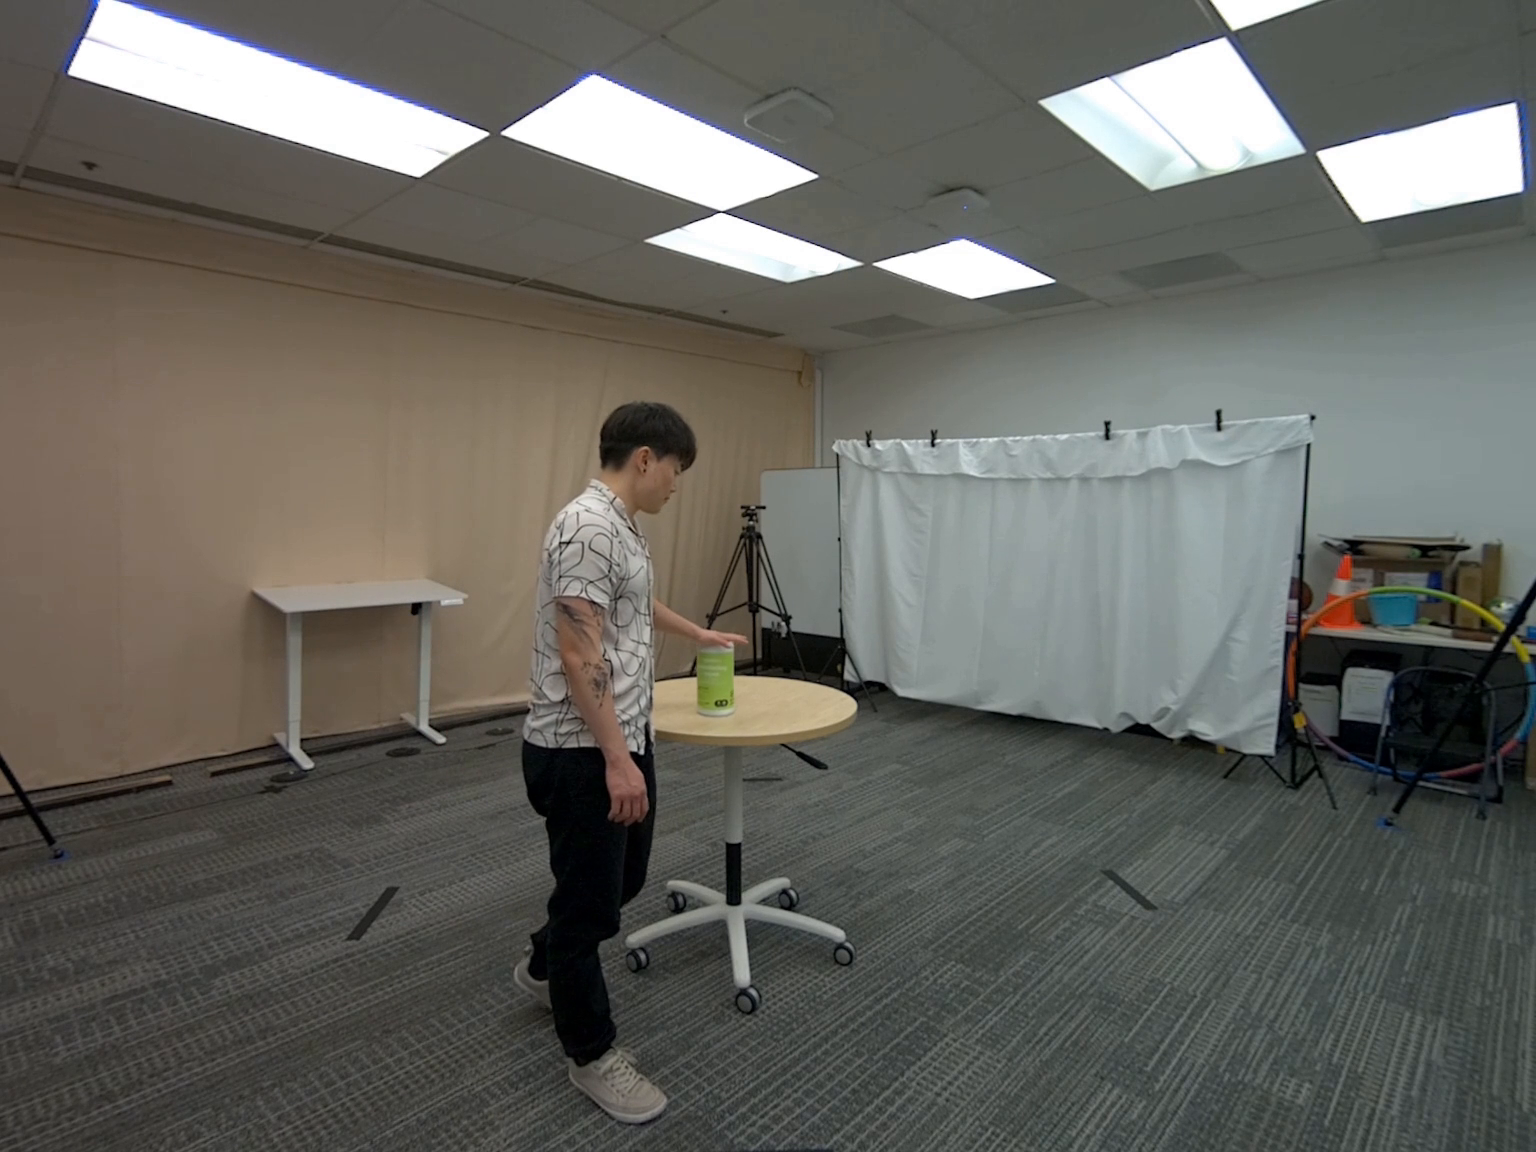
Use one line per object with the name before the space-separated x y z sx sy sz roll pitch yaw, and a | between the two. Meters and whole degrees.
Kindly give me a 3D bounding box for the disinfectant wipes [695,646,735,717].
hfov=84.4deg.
disinfectant wipes | -0.153 0.304 2.488 0.118 0.217 0.118 -2 4 -2
